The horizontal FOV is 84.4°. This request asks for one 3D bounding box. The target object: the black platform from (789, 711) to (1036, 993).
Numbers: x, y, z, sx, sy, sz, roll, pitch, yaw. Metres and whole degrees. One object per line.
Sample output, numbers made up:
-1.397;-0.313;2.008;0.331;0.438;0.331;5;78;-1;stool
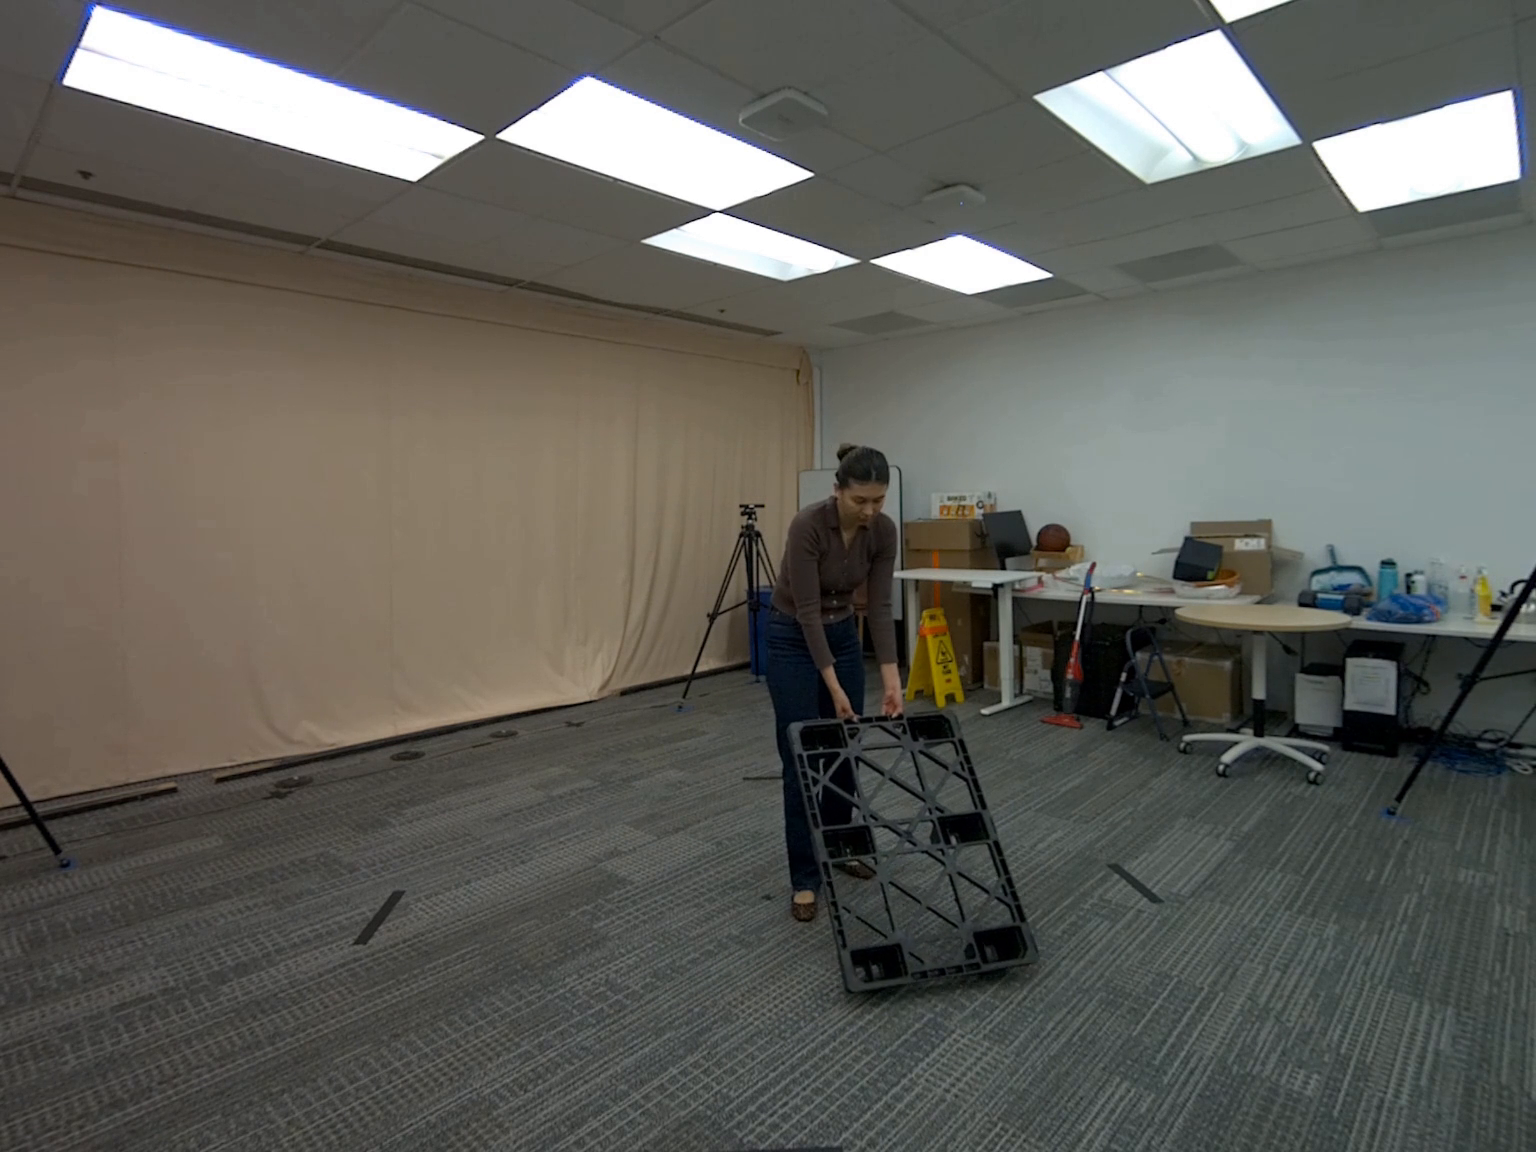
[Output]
0.437;0.833;2.645;0.596;0.824;0.142;-2;-34;-15;black platform
